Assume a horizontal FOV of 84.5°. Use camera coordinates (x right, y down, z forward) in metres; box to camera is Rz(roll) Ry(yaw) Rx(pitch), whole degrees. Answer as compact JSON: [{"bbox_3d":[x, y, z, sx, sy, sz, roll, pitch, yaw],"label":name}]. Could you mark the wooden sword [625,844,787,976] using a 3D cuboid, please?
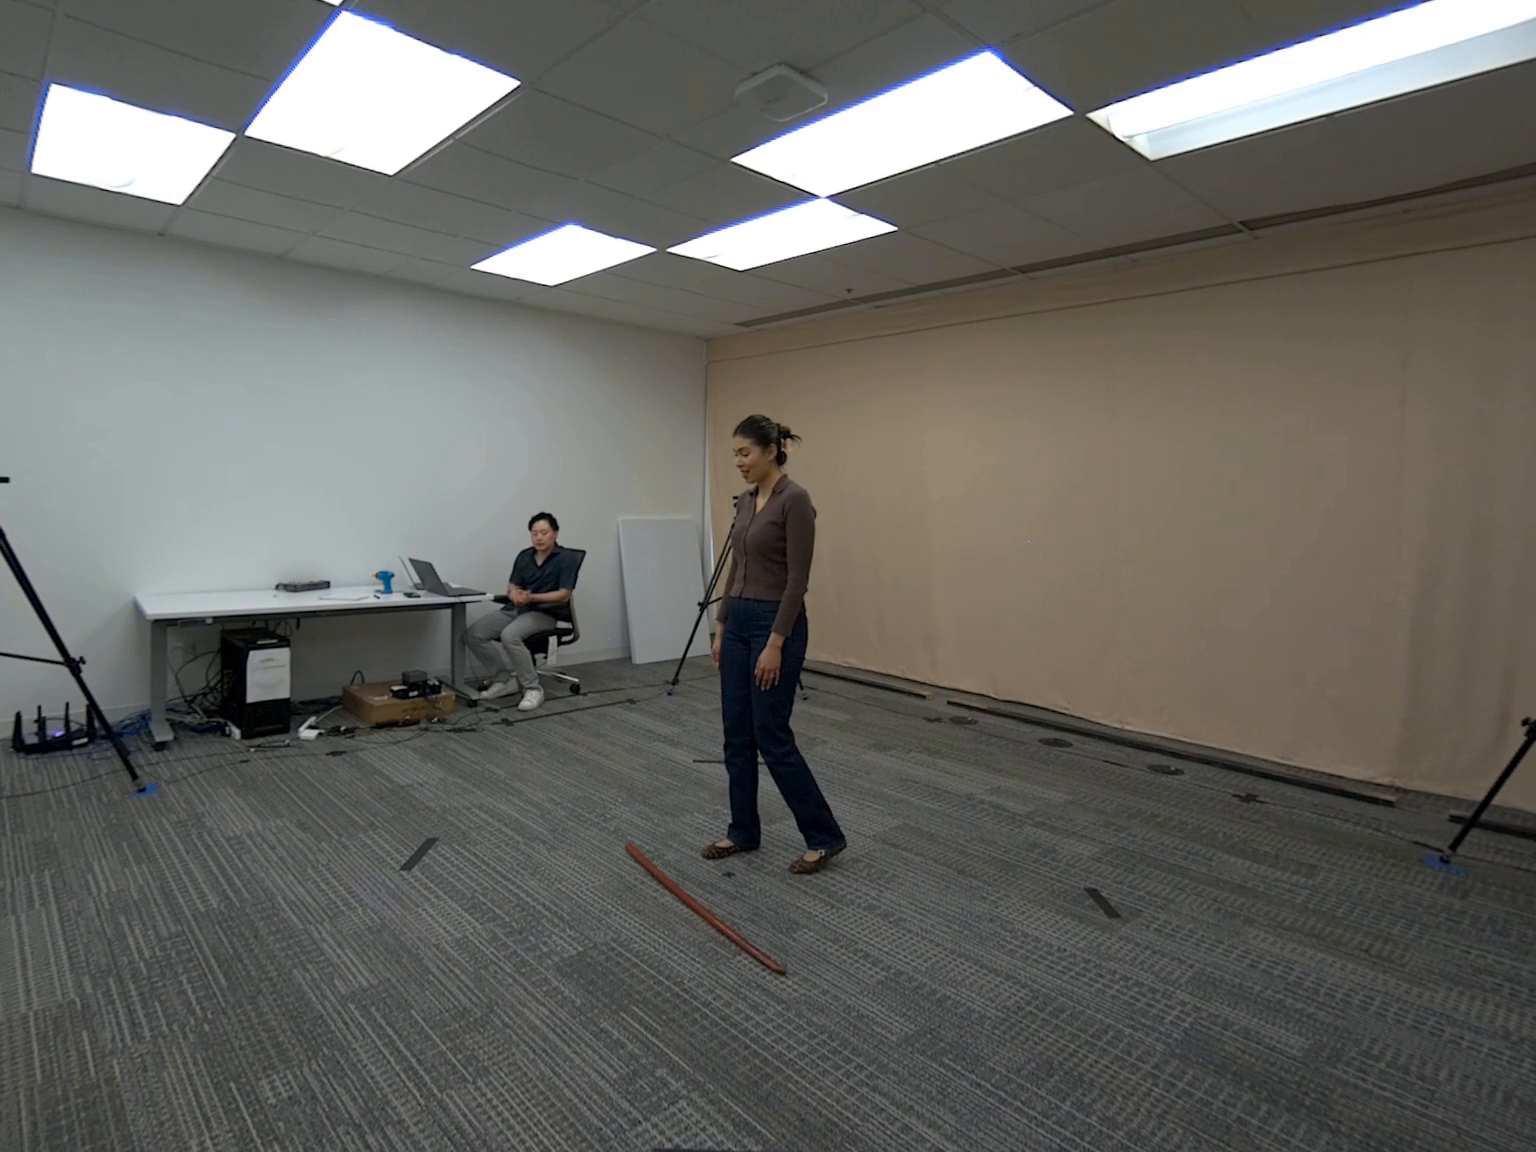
[{"bbox_3d":[-0.251,1.099,2.876,1.050,0.051,0.023,9,-36,55],"label":"wooden sword"}]
